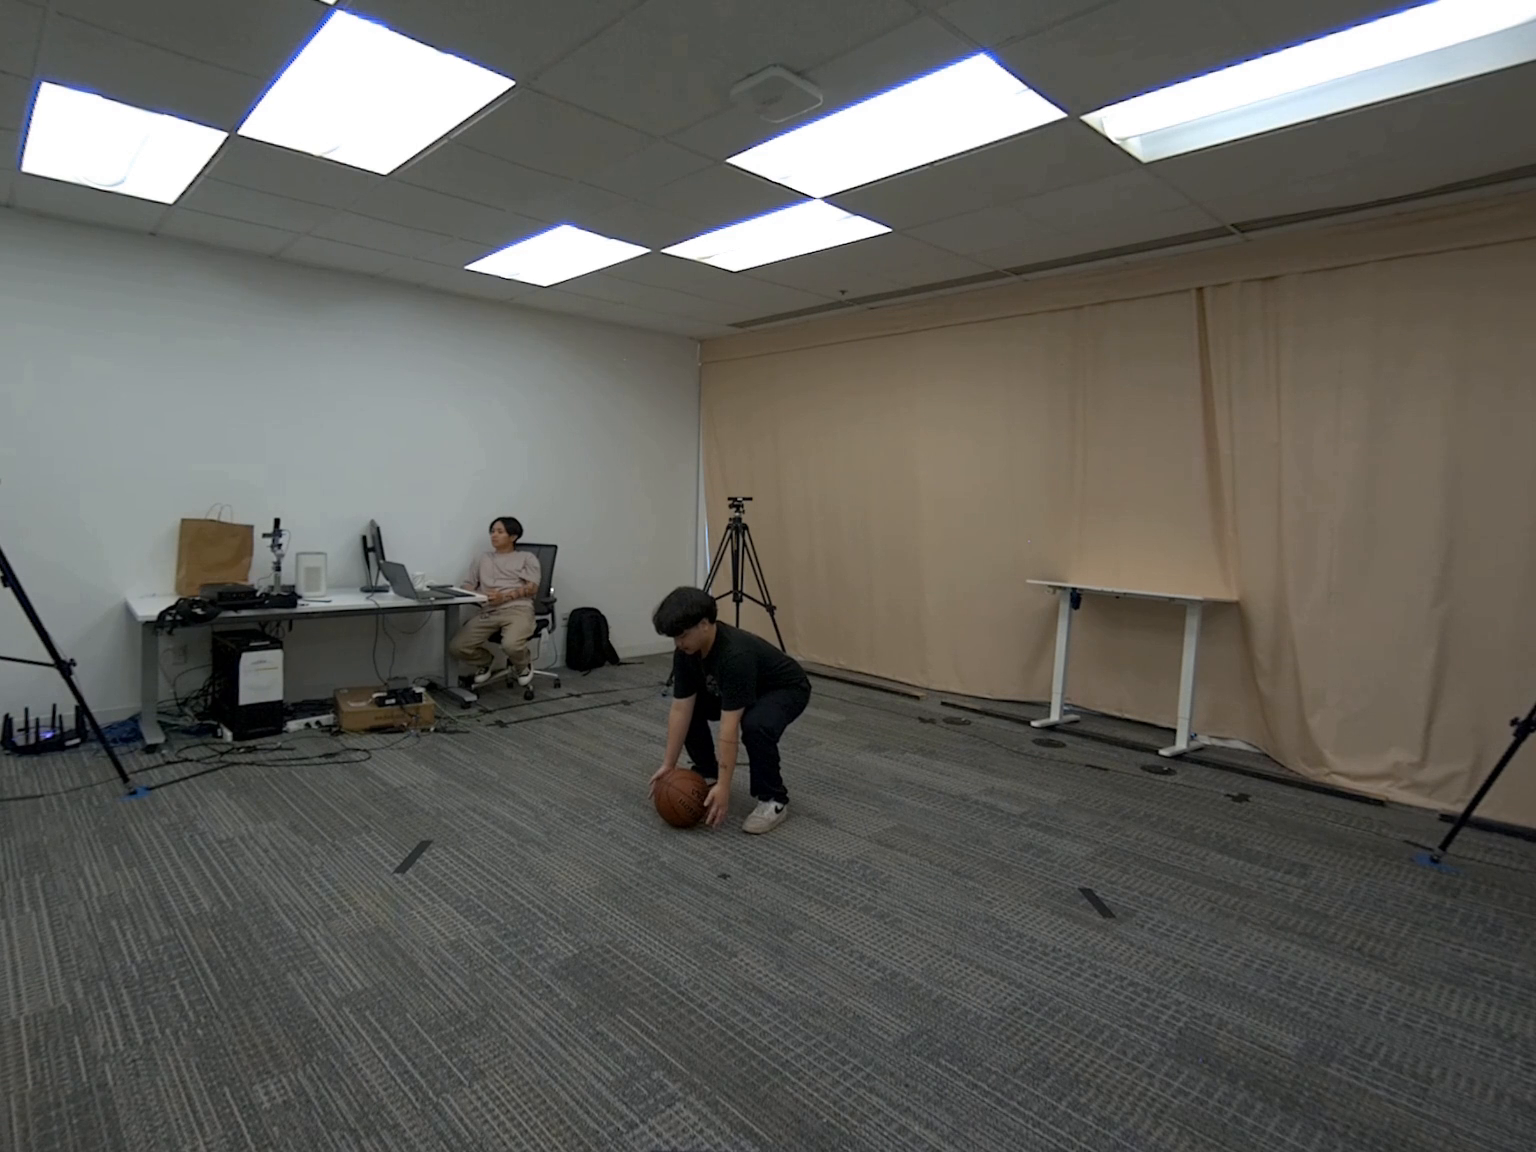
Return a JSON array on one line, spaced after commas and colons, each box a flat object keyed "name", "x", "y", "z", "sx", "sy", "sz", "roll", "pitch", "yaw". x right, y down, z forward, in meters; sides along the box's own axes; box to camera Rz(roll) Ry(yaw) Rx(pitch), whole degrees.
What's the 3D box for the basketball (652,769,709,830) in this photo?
[{"name": "basketball", "x": -0.372, "y": 0.938, "z": 3.582, "sx": 0.236, "sy": 0.235, "sz": 0.237, "roll": 1, "pitch": 4, "yaw": -1}]
